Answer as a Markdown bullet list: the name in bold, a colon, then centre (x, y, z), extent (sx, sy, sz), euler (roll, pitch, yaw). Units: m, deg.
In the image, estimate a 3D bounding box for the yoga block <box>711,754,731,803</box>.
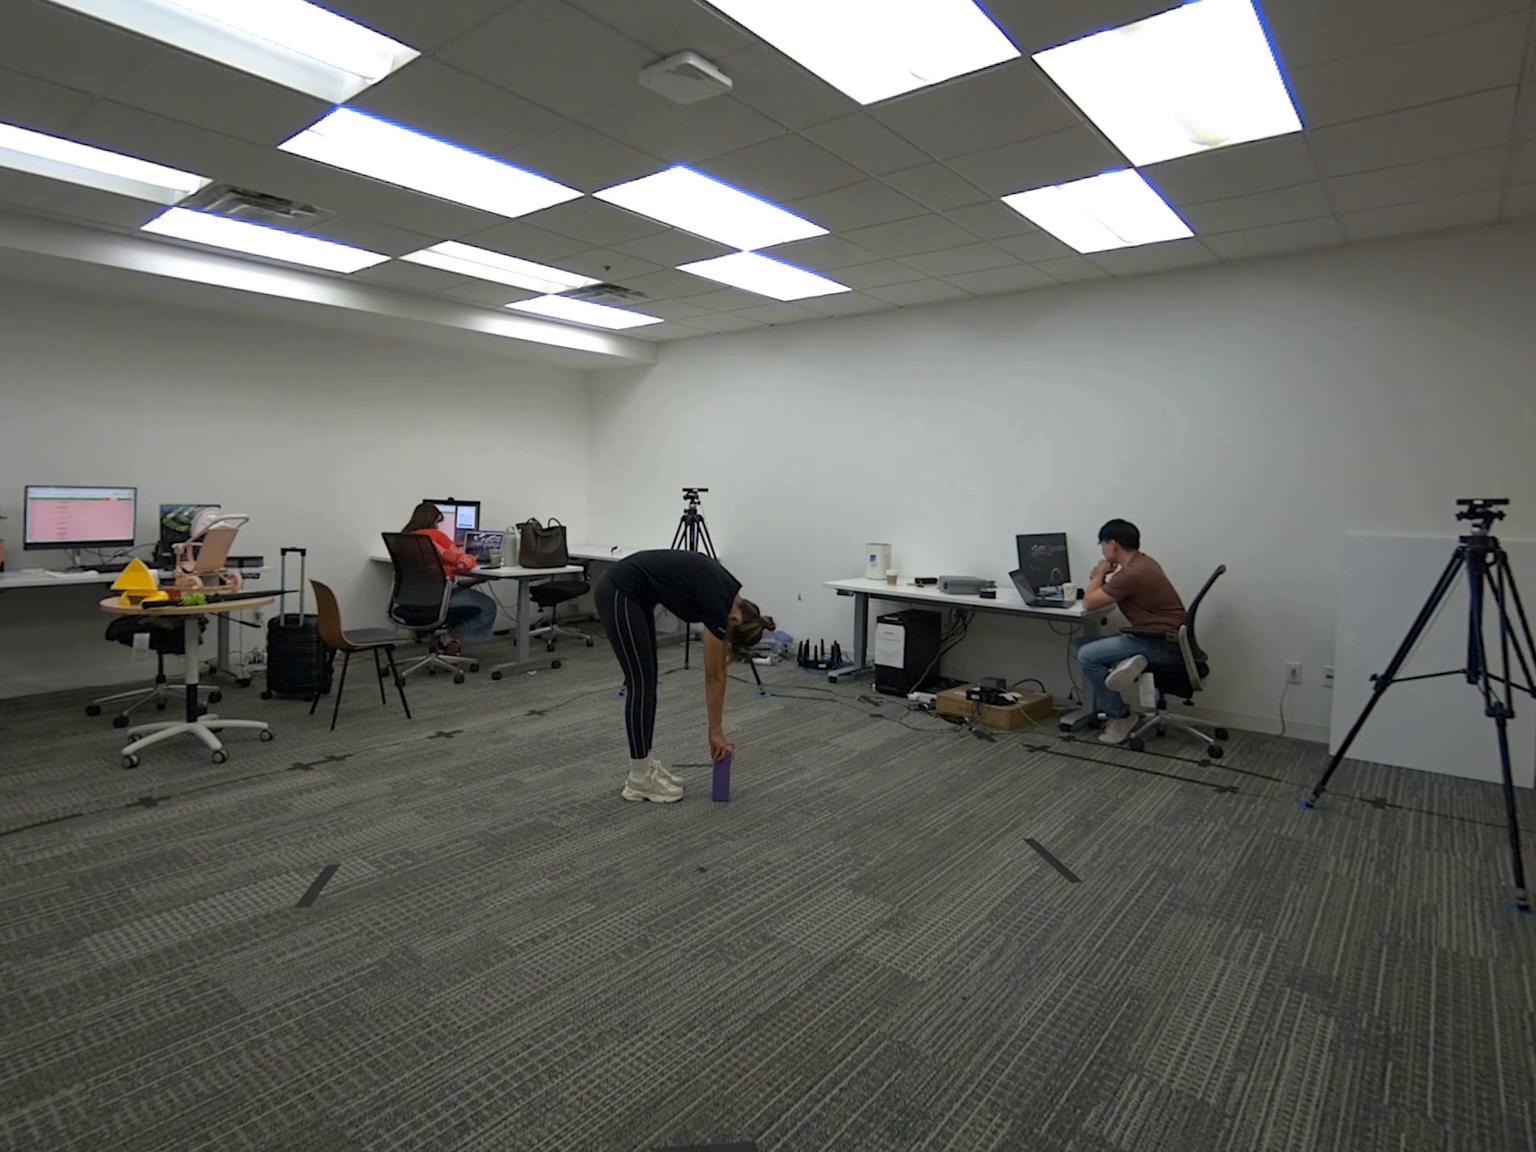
- **yoga block**: centre (-0.220, 0.890, 3.857), extent (0.076, 0.228, 0.150), euler (0, 4, -4)
